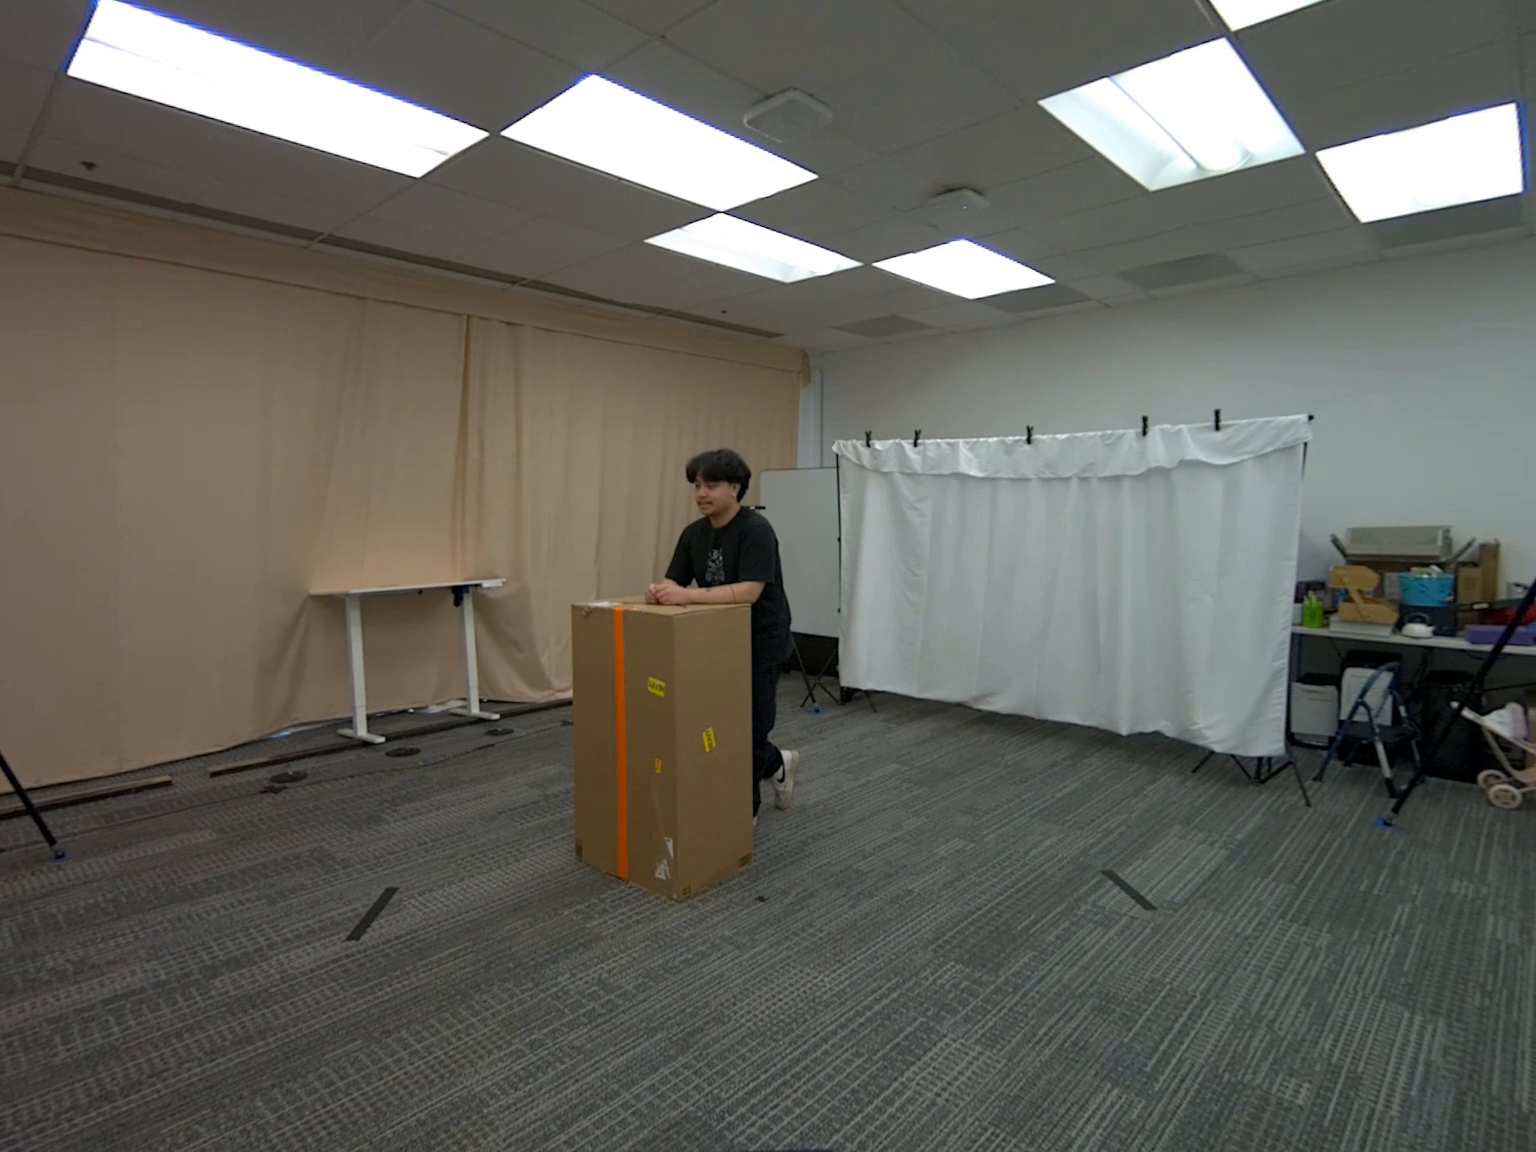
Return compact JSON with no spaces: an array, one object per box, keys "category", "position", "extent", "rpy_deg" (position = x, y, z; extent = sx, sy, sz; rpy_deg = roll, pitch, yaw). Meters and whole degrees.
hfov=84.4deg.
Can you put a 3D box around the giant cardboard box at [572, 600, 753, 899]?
[{"category":"giant cardboard box","position":[-0.419,0.613,3.282],"extent":[0.603,1.025,0.433],"rpy_deg":[2,4,41]}]
